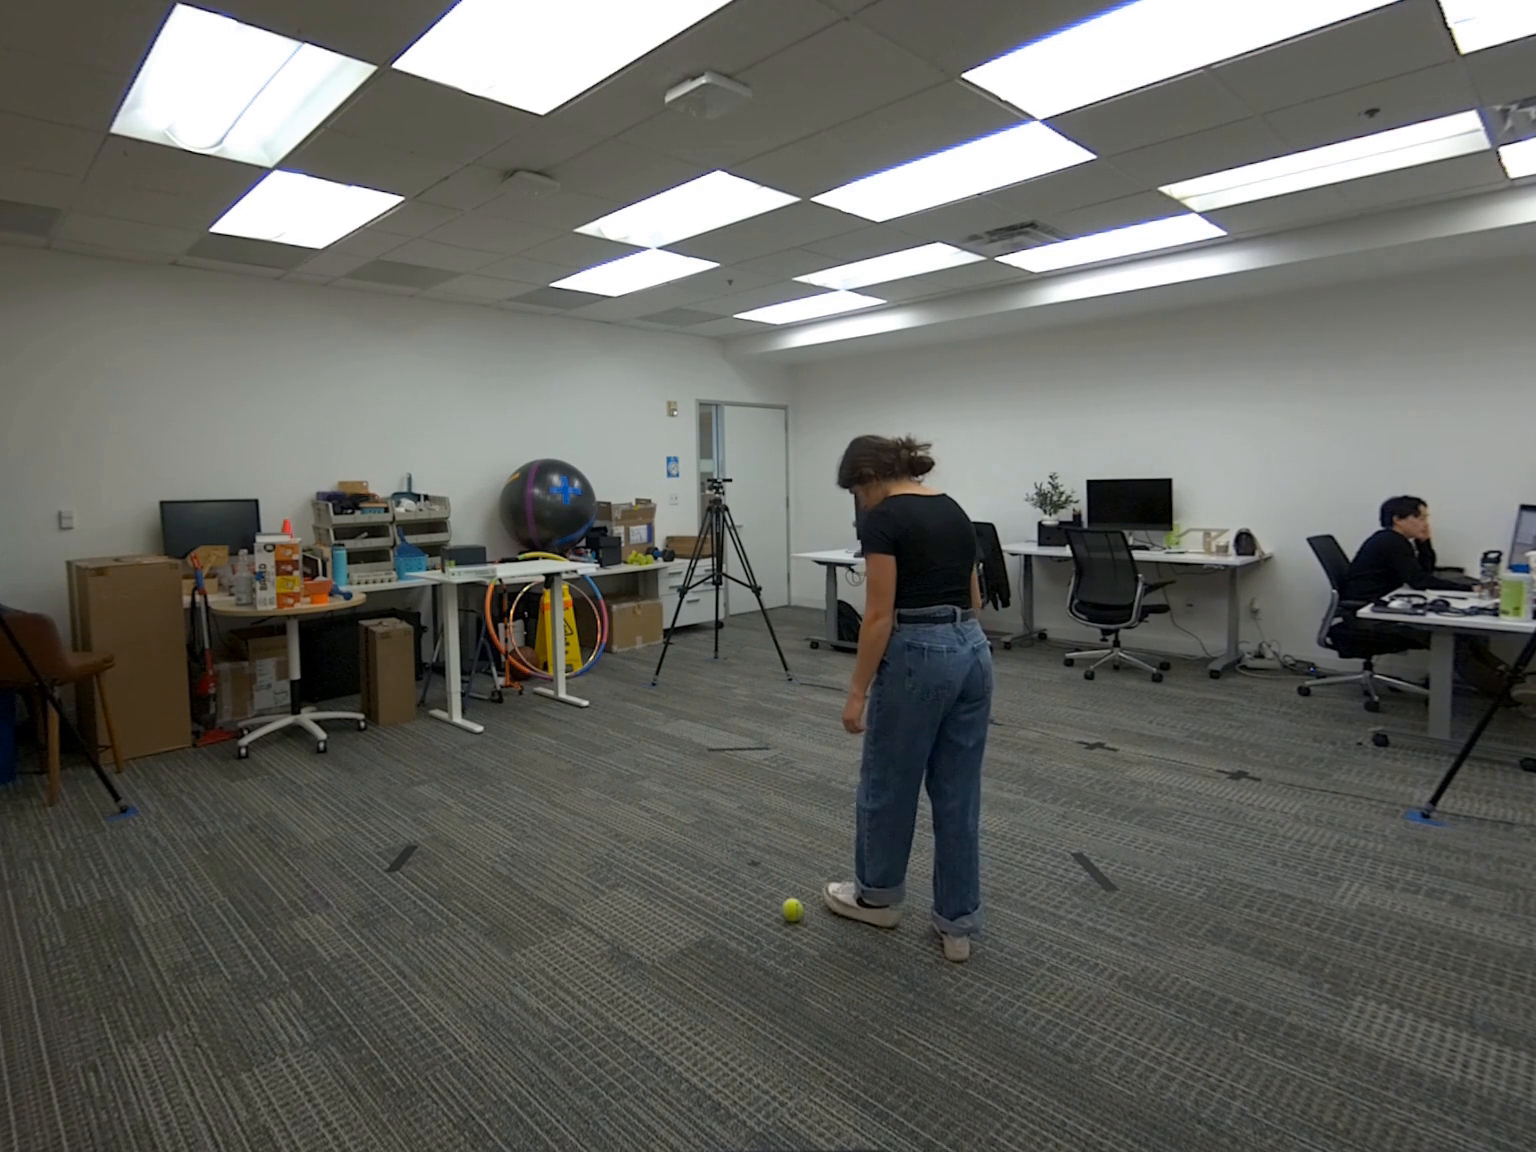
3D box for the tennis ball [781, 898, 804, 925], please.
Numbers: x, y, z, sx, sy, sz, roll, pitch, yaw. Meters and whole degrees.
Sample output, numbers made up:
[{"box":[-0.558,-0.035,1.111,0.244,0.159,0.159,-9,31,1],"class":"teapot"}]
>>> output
[{"box":[0.093,1.044,2.695,0.066,0.066,0.067,-1,5,-2],"class":"tennis ball"}]
